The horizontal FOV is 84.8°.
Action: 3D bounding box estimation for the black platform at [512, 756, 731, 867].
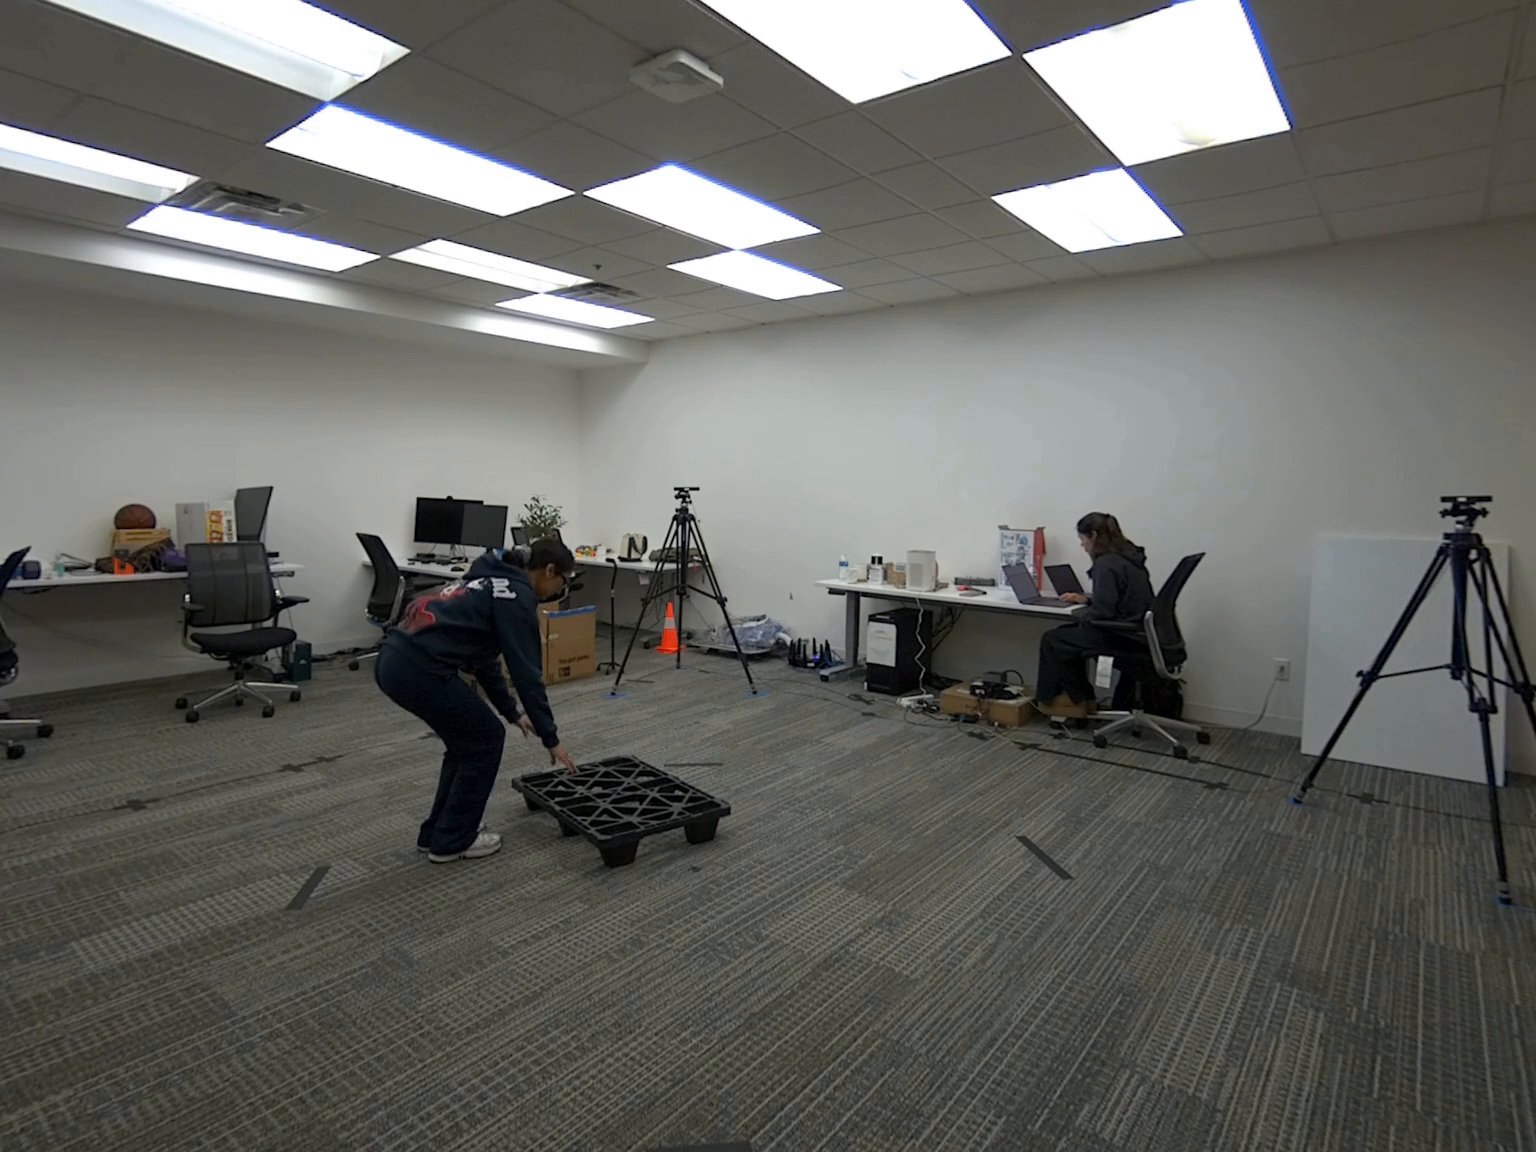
[{"bbox_3d":[-0.637,0.953,3.515,0.587,0.143,0.833,-4,7,-38],"label":"black platform"}]
